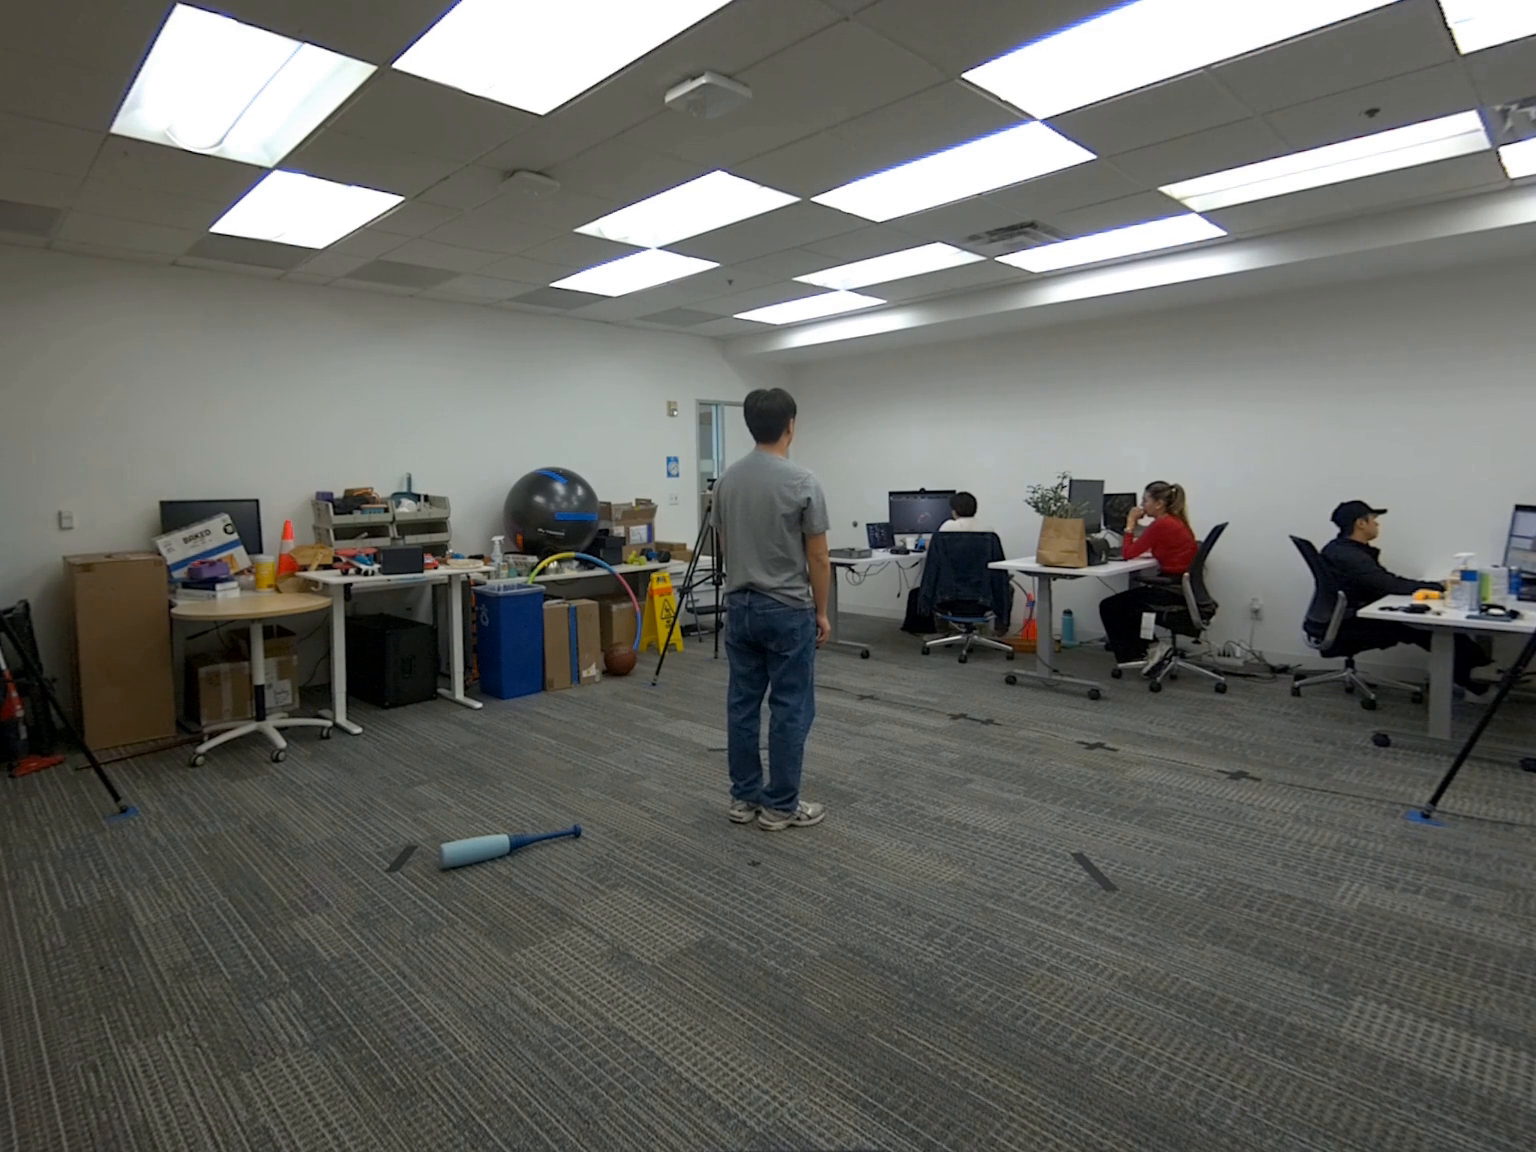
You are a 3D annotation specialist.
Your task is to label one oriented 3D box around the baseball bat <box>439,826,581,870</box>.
[{"bbox_3d":[-0.968,1.016,3.241,0.529,0.089,0.091,-1,4,-31],"label":"baseball bat"}]
